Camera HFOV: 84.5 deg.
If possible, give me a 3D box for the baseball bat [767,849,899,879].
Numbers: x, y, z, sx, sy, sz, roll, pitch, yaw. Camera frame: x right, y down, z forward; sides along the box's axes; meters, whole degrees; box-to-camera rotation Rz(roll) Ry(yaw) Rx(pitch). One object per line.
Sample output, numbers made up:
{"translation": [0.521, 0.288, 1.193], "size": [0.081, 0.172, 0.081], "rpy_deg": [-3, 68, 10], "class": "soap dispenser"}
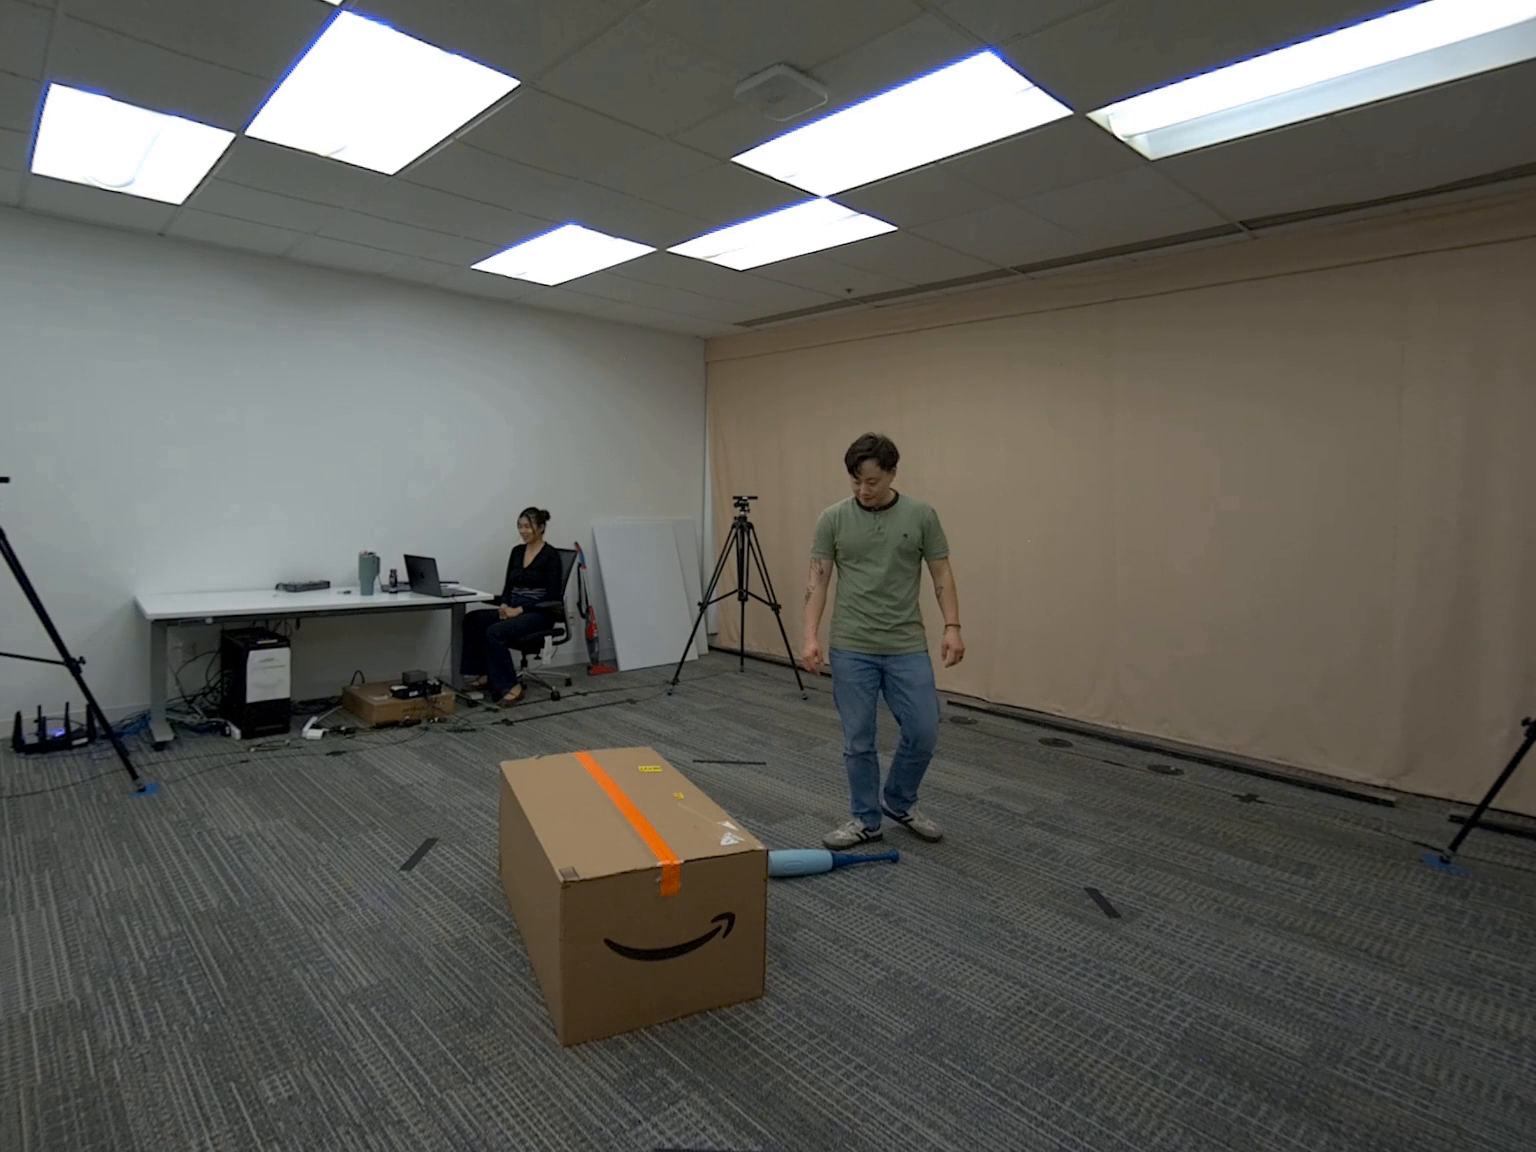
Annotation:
{"translation": [0.240, 1.071, 3.164], "size": [0.535, 0.089, 0.090], "rpy_deg": [3, 4, -18], "class": "baseball bat"}
